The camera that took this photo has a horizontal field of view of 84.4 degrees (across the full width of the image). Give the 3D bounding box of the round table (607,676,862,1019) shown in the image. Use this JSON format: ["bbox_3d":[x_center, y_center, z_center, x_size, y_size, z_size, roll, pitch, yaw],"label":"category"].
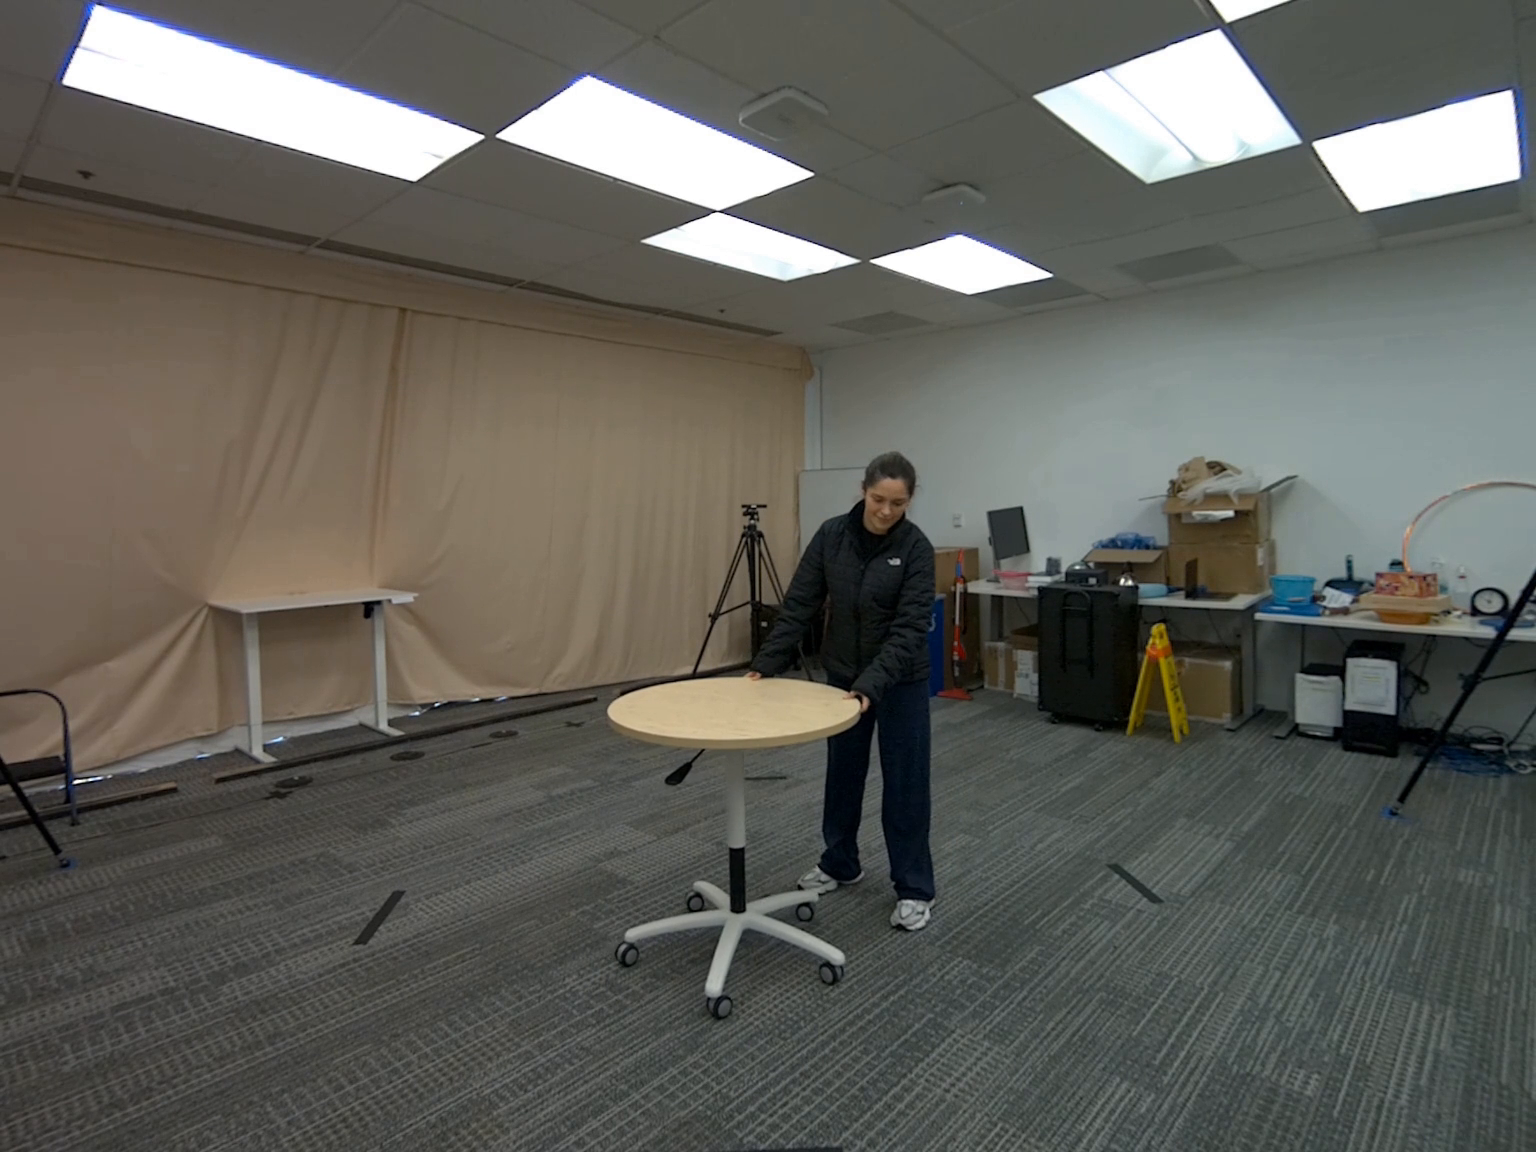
[{"bbox_3d":[-0.064,0.779,2.598,0.784,0.784,0.788,-1,5,-2],"label":"round table"}]
